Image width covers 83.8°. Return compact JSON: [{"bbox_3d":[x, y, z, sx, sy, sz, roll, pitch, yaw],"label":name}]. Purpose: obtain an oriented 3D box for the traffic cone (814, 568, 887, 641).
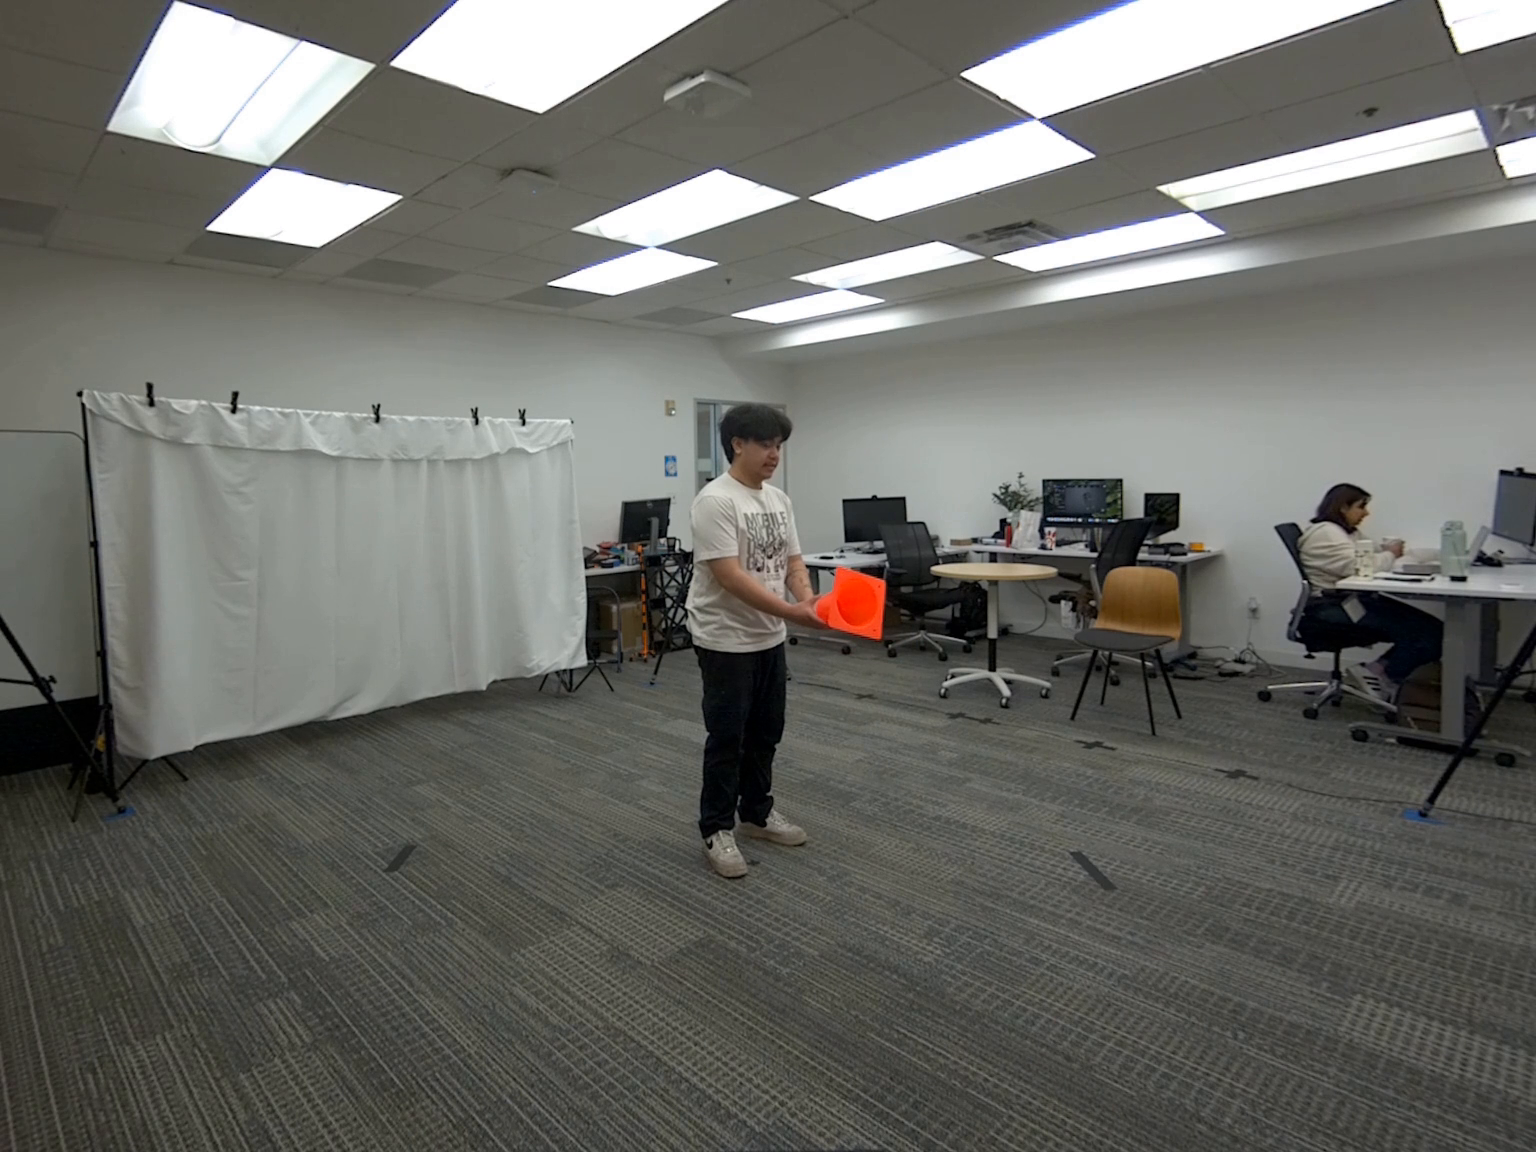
[{"bbox_3d":[0.215,0.120,2.891,0.200,0.206,0.388,17,-17,-21],"label":"traffic cone"}]
